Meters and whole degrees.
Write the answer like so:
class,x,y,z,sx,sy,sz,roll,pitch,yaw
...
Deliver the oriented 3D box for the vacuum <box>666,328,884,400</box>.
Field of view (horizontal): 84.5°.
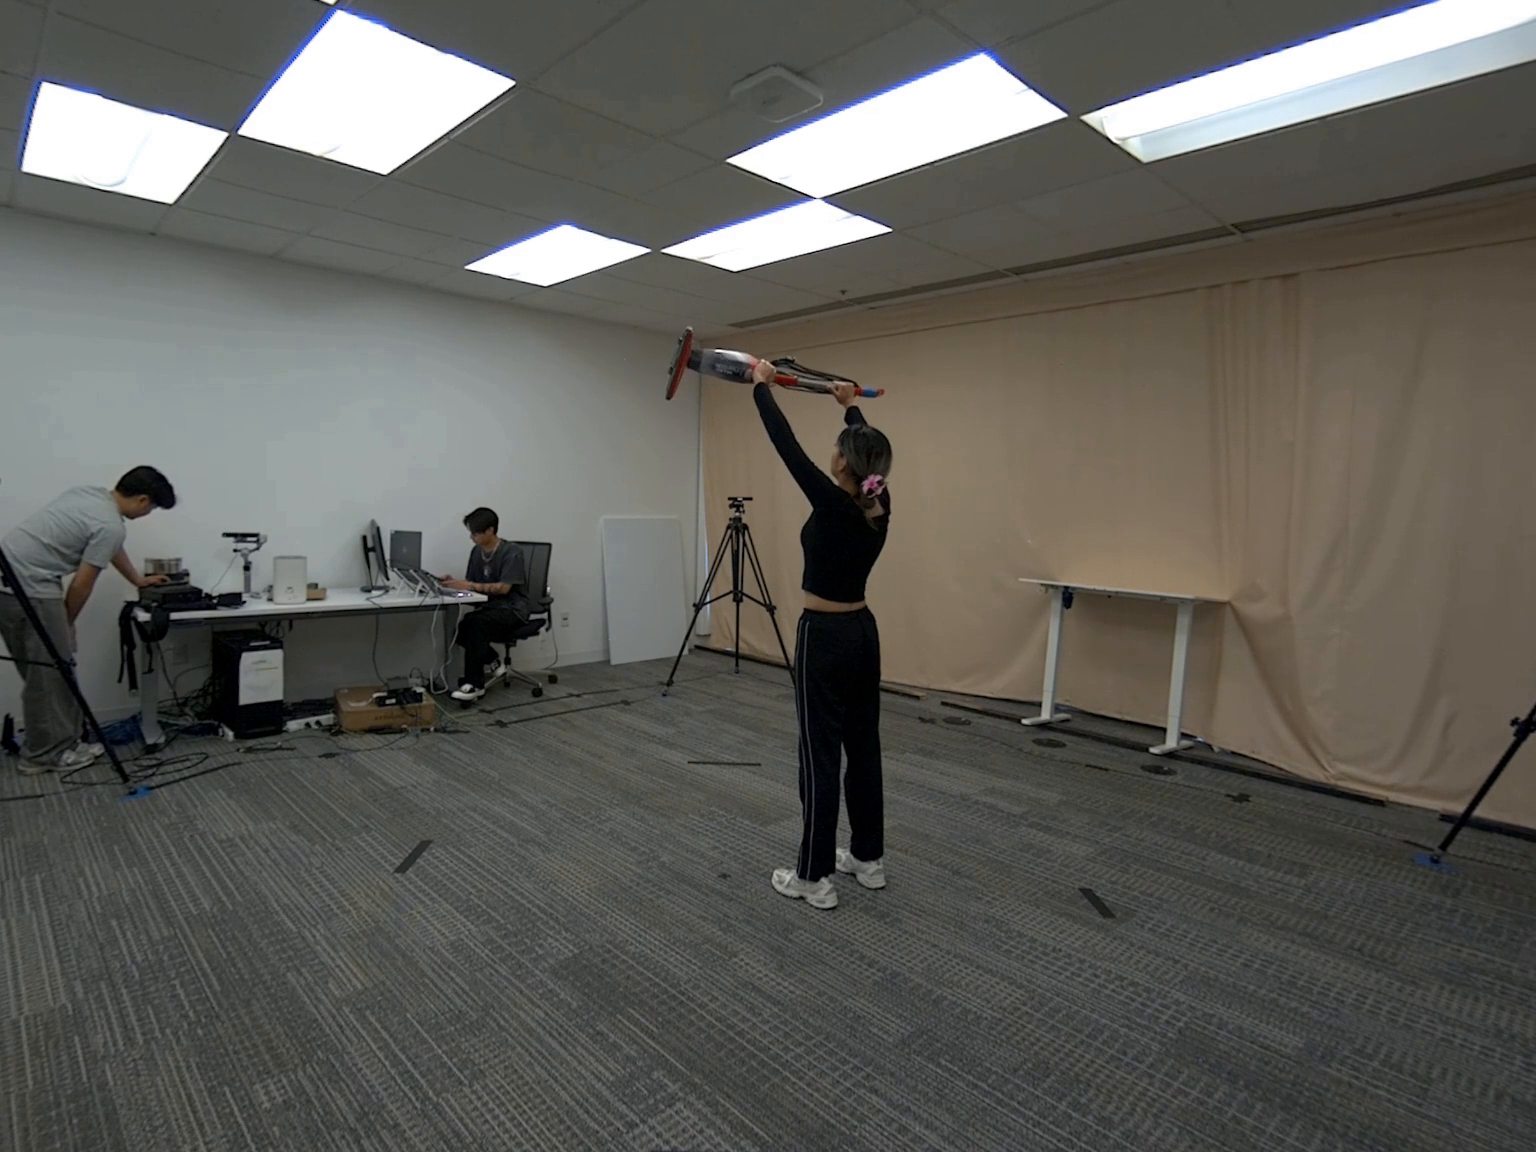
class,x,y,z,sx,sy,sz,roll,pitch,yaw
vacuum,0.069,-0.753,3.196,1.026,0.250,0.148,-3,35,-40
